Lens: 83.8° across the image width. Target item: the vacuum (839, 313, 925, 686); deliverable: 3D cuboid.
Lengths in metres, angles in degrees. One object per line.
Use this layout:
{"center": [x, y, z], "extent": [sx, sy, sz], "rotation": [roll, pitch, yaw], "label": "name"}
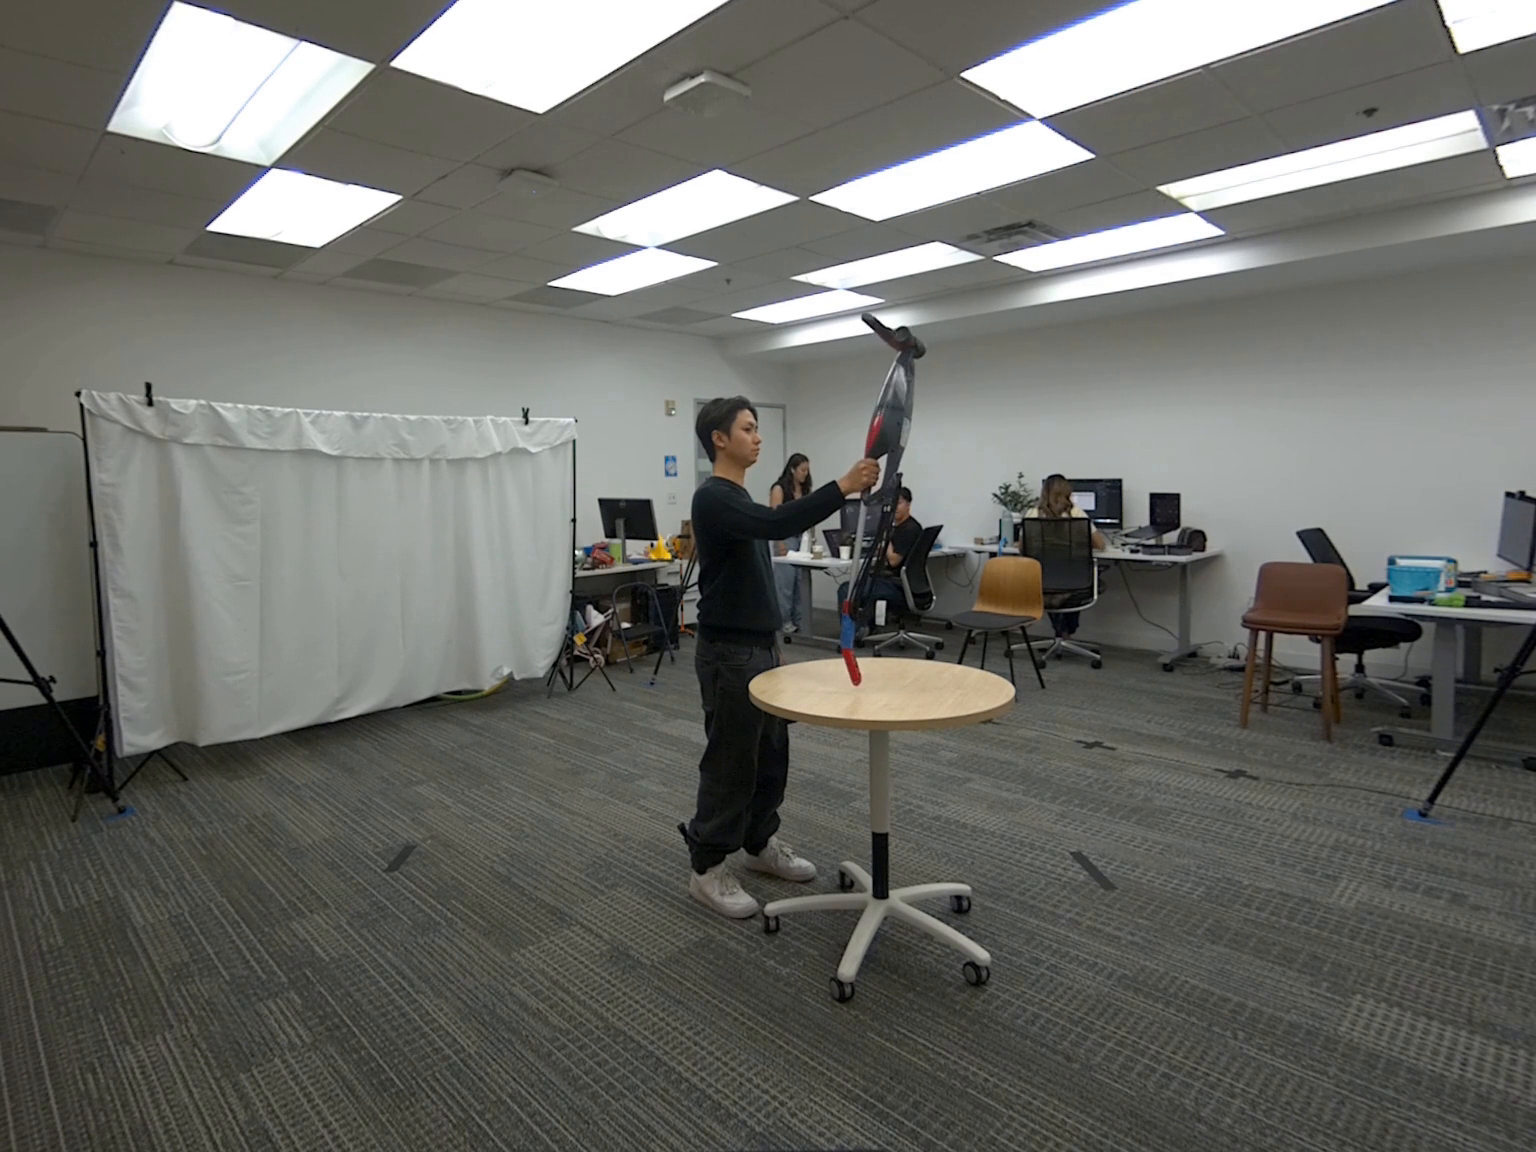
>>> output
{"center": [0.334, -0.216, 2.489], "extent": [0.148, 1.057, 0.244], "rotation": [1, -11, 30], "label": "vacuum"}
